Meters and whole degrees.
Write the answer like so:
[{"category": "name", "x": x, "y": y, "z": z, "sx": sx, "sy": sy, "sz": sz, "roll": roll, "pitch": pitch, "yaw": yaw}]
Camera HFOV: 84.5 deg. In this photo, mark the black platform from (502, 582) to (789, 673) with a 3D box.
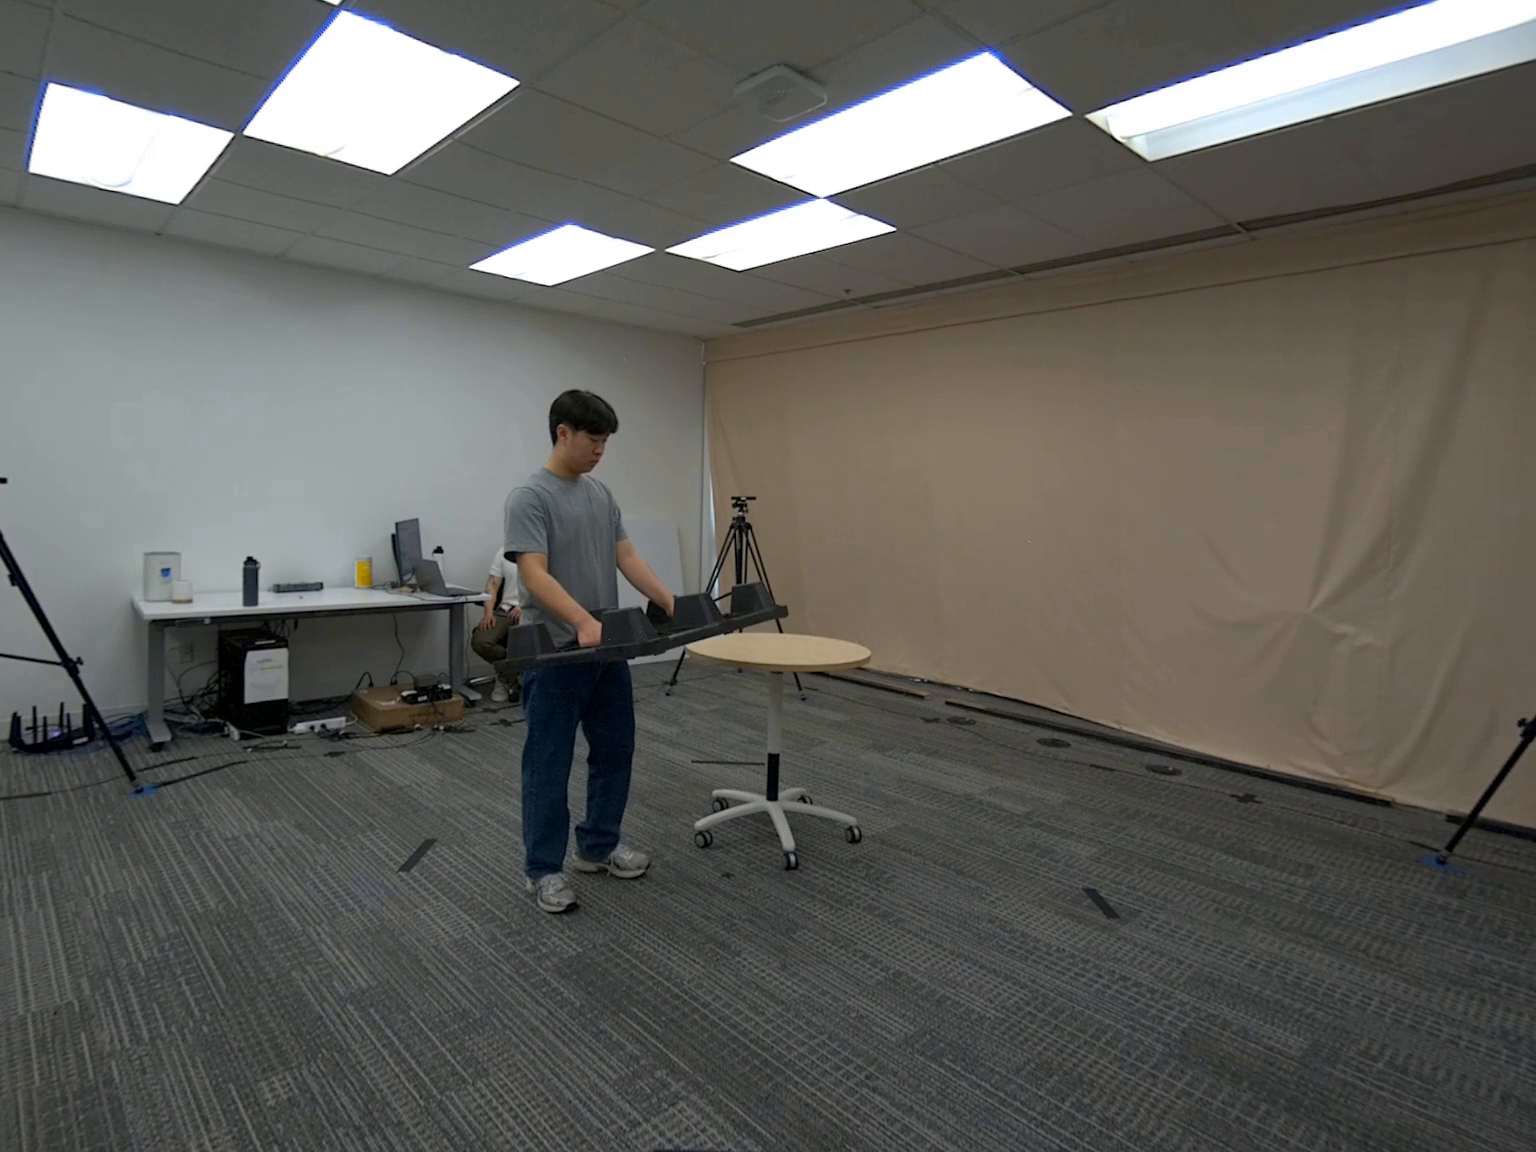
[{"category": "black platform", "x": -0.381, "y": 0.154, "z": 2.698, "sx": 0.615, "sy": 0.143, "sz": 0.791, "roll": -9, "pitch": 0, "yaw": 30}]
